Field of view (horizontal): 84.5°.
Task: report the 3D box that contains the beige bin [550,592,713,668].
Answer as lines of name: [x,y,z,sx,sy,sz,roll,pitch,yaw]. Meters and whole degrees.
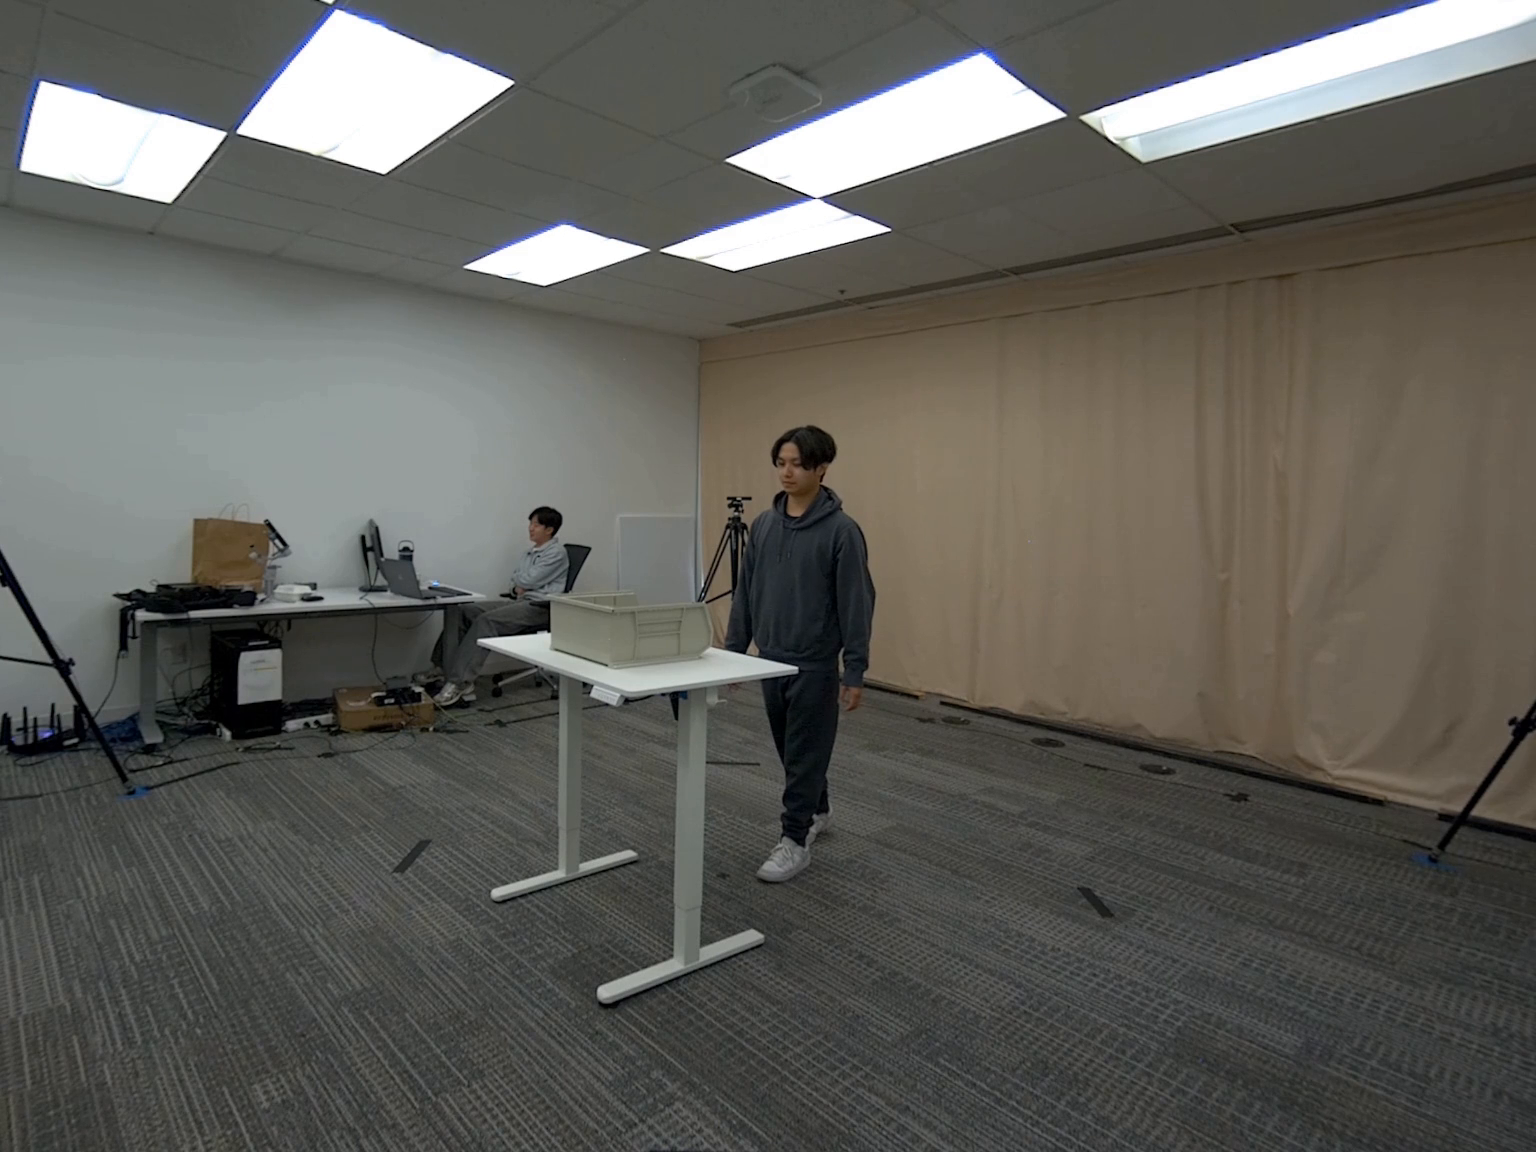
beige bin: [-0.453,0.164,2.707,0.369,0.188,0.433,-3,6,-40]
